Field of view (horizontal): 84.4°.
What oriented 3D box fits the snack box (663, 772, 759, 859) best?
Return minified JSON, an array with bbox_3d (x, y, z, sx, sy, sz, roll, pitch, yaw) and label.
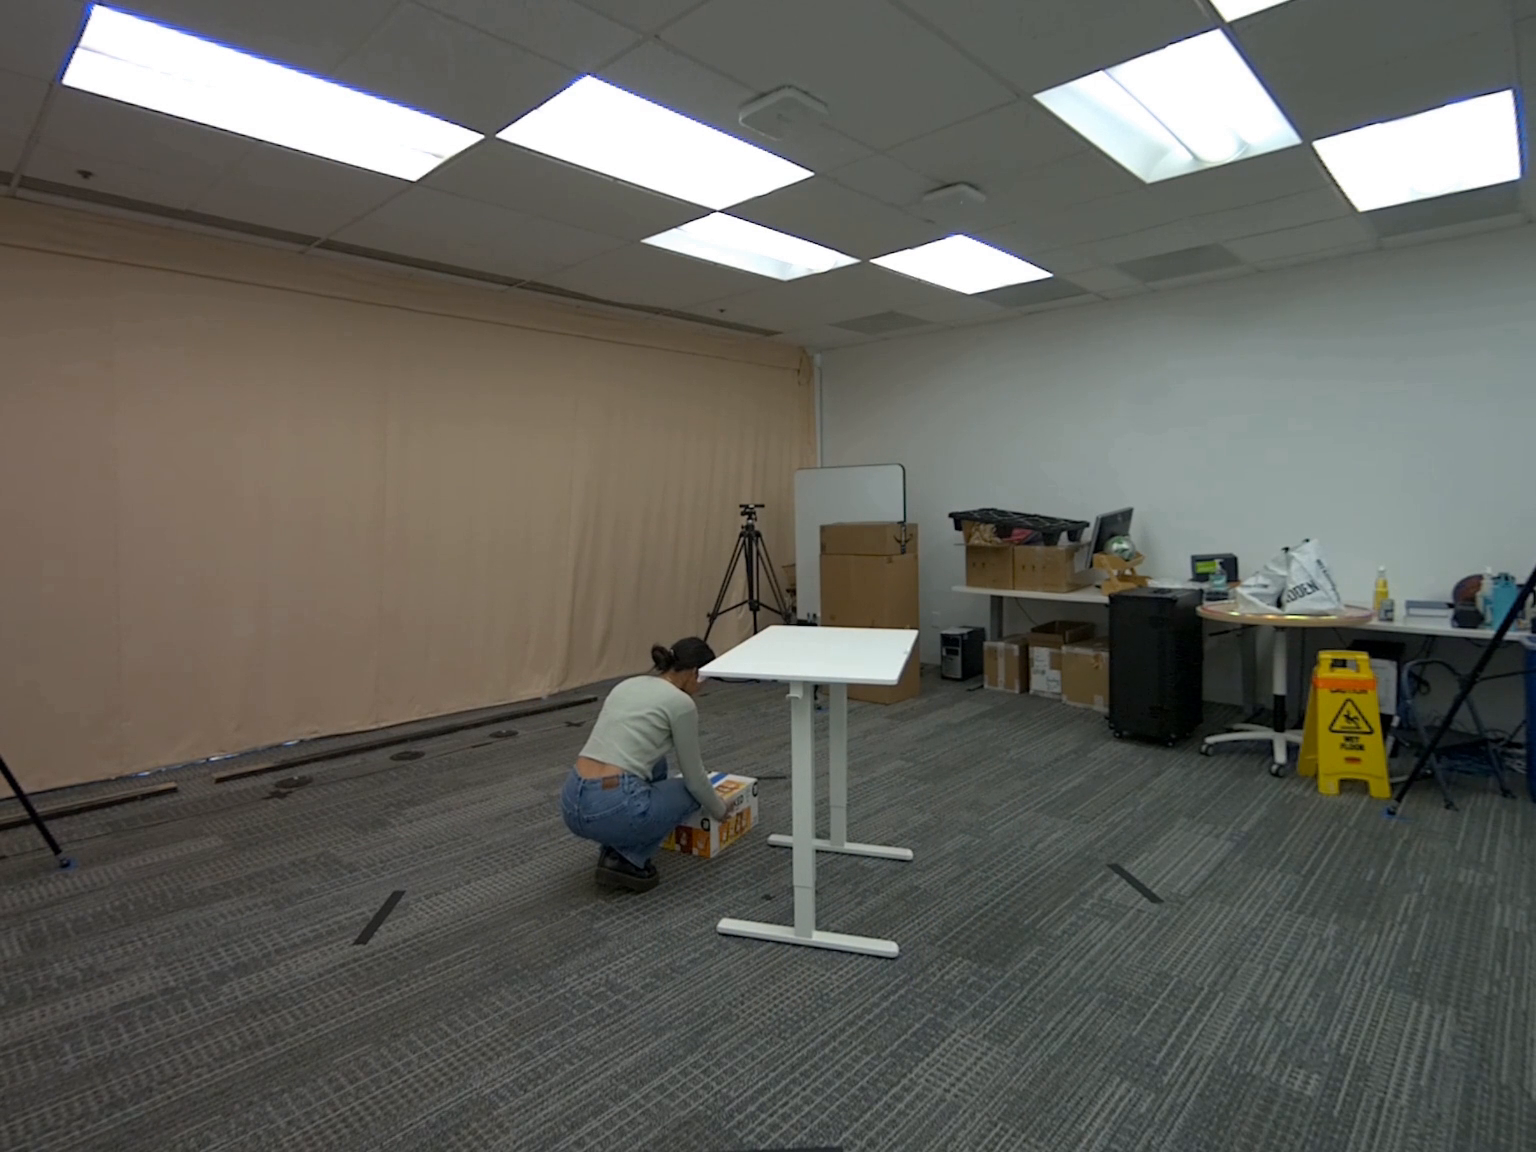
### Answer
[{"bbox_3d":[-0.285,0.994,3.574,0.350,0.205,0.395,2,5,29],"label":"snack box"}]
